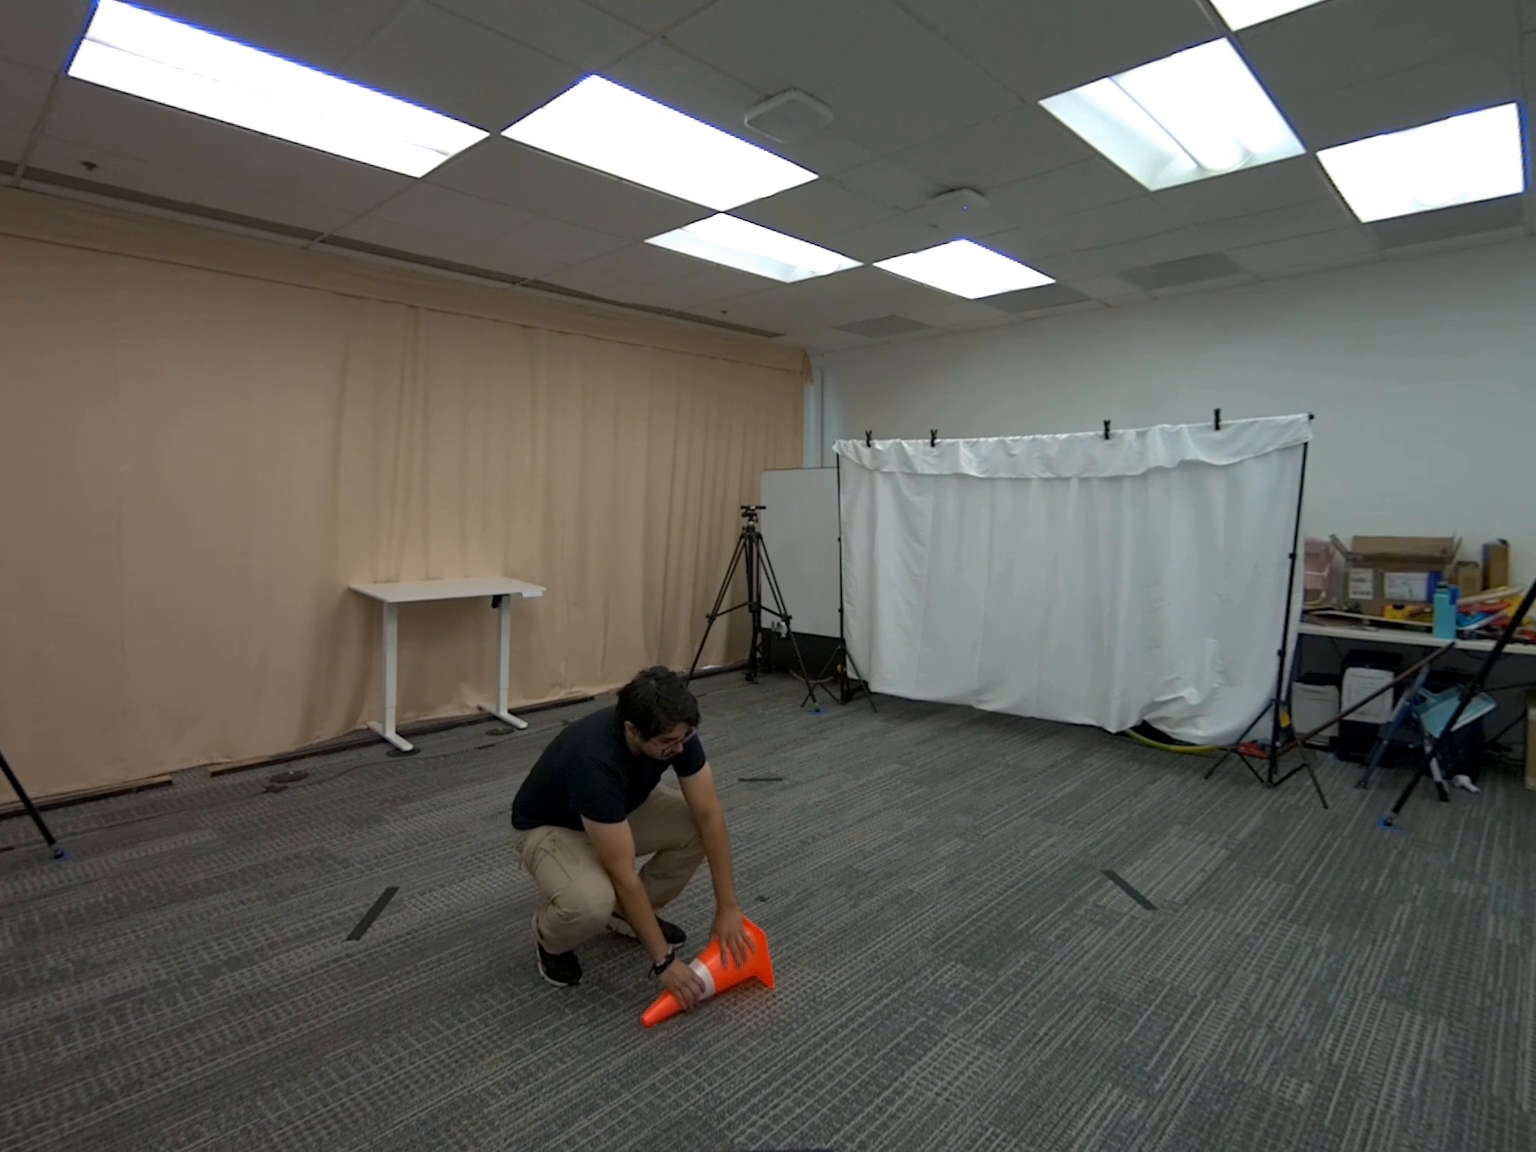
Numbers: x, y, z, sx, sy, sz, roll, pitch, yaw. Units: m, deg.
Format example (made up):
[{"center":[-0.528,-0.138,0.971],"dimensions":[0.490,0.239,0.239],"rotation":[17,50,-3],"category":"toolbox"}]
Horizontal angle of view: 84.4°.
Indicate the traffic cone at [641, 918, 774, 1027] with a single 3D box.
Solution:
[{"center":[-0.190,1.151,2.358],"dimensions":[0.375,0.201,0.212],"rotation":[-22,19,-38],"category":"traffic cone"}]
